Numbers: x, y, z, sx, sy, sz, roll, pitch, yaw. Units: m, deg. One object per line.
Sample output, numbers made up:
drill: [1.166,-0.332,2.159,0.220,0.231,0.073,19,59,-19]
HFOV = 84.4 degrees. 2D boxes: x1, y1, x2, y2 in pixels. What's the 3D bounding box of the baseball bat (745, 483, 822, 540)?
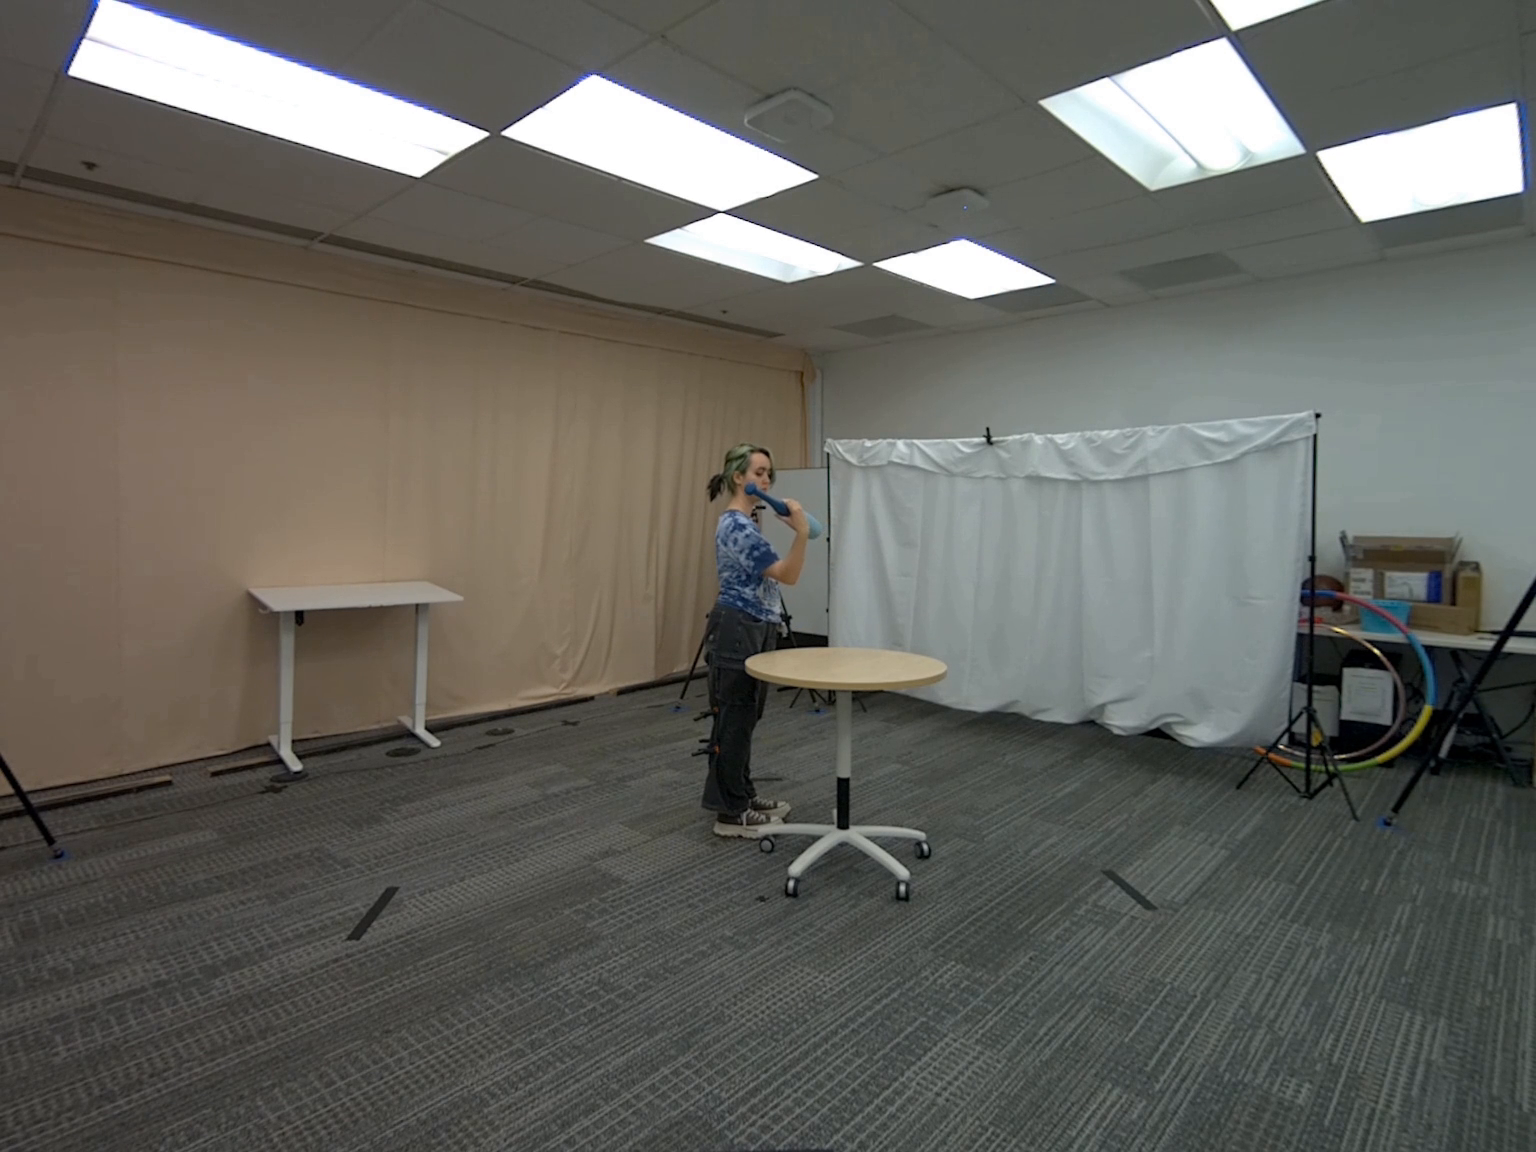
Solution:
baseball bat: [0.055,-0.258,3.303,0.092,0.089,0.523,3,-14,35]
